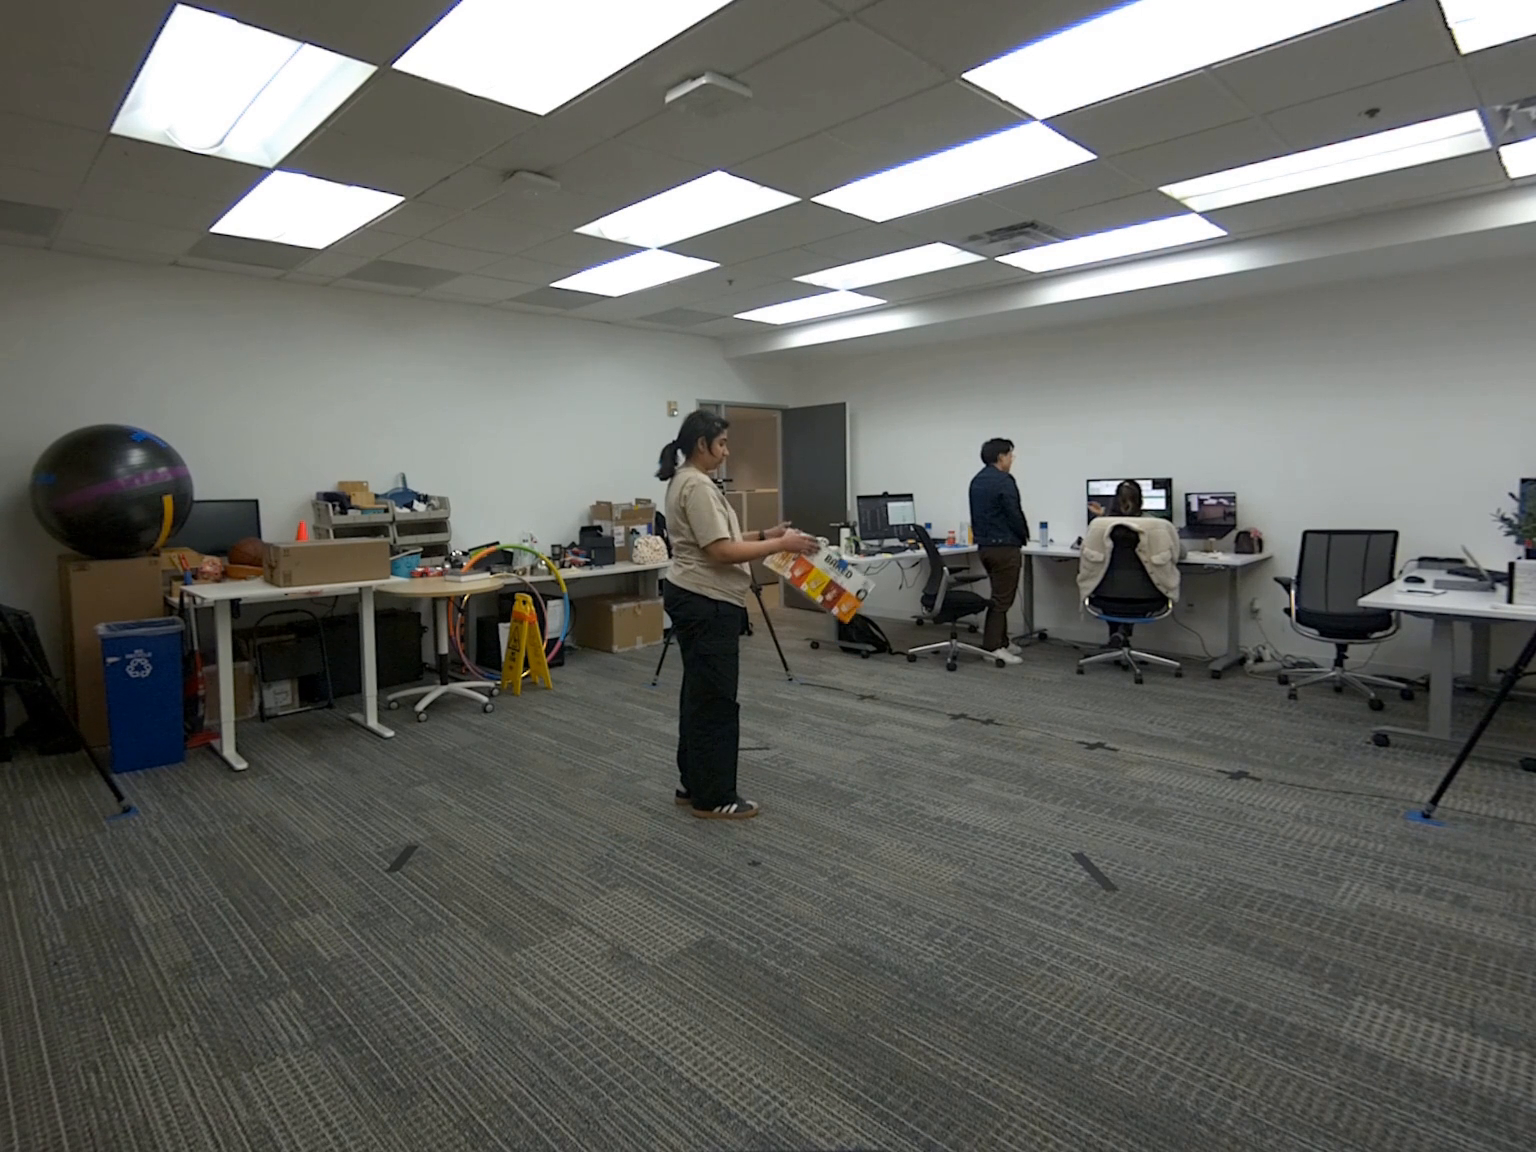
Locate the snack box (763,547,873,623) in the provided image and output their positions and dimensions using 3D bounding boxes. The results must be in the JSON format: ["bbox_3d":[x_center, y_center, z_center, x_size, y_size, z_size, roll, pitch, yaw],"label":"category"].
[{"bbox_3d":[0.204,-0.045,3.674,0.335,0.206,0.411,38,-2,-13],"label":"snack box"}]
